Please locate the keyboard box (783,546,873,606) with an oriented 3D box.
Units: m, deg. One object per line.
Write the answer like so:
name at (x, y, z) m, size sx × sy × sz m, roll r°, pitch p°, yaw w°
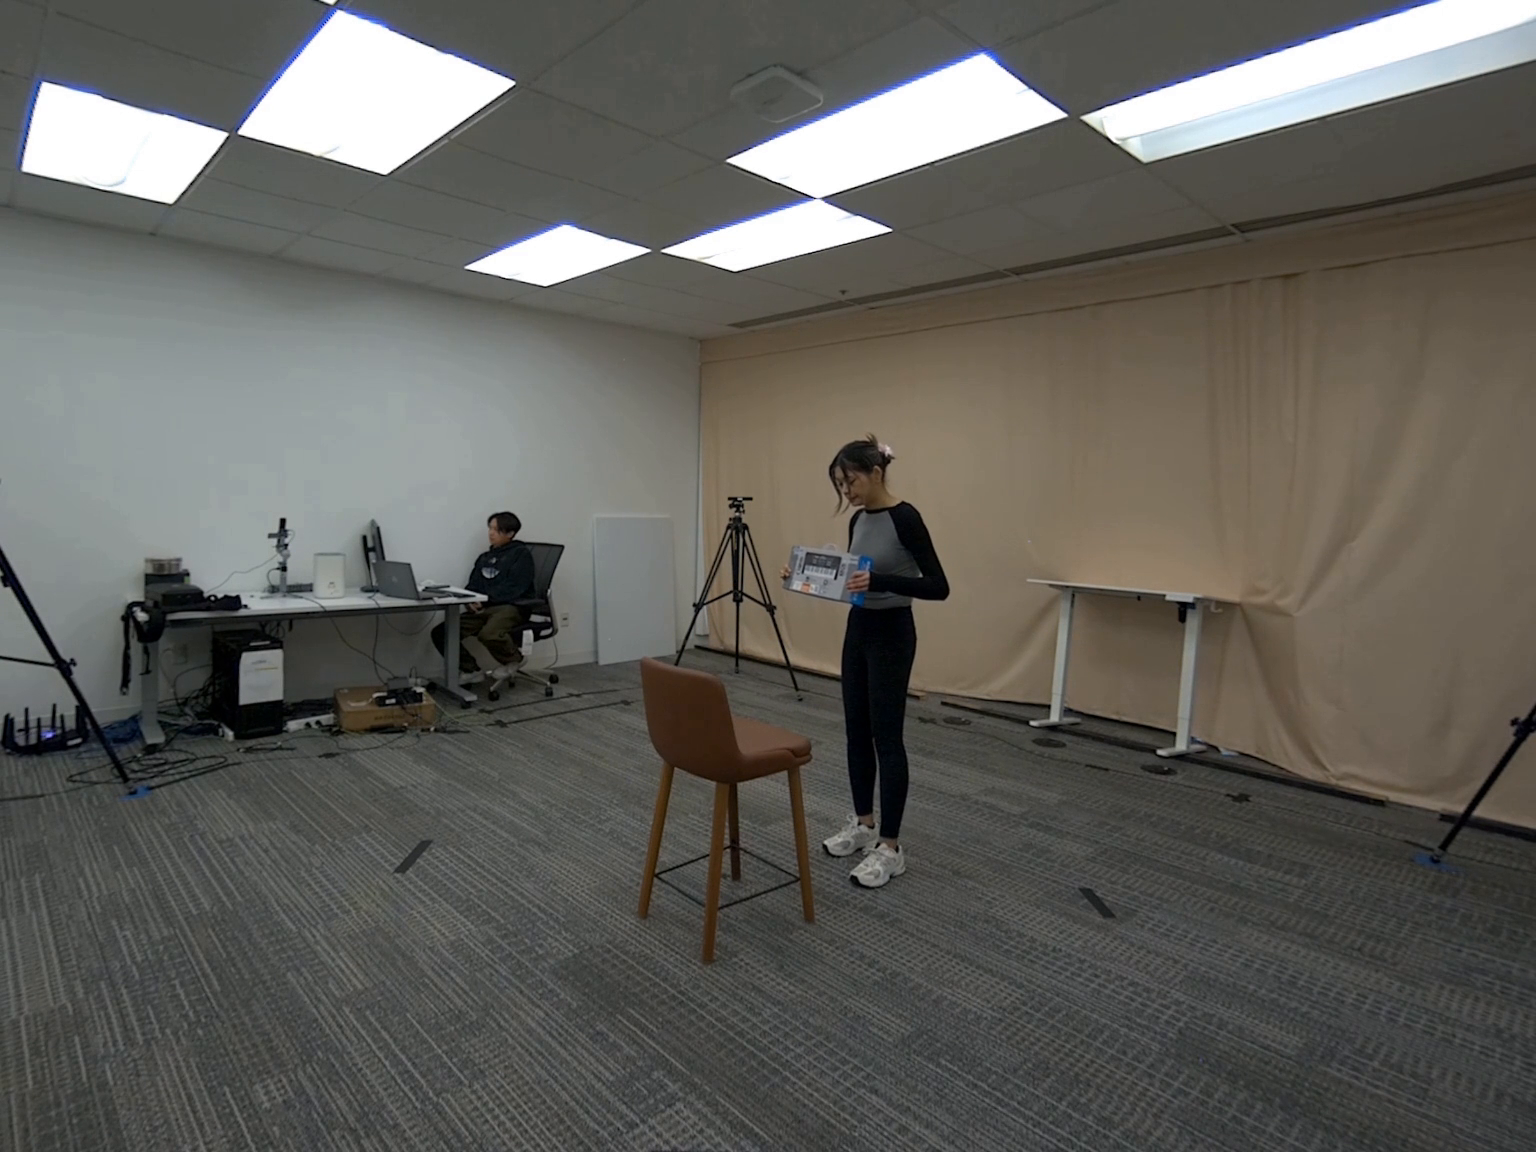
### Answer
keyboard box at (0.211, -0.003, 3.111) m, size 0.057 × 0.176 × 0.447 m, roll 16°, pitch -3°, yaw -31°
